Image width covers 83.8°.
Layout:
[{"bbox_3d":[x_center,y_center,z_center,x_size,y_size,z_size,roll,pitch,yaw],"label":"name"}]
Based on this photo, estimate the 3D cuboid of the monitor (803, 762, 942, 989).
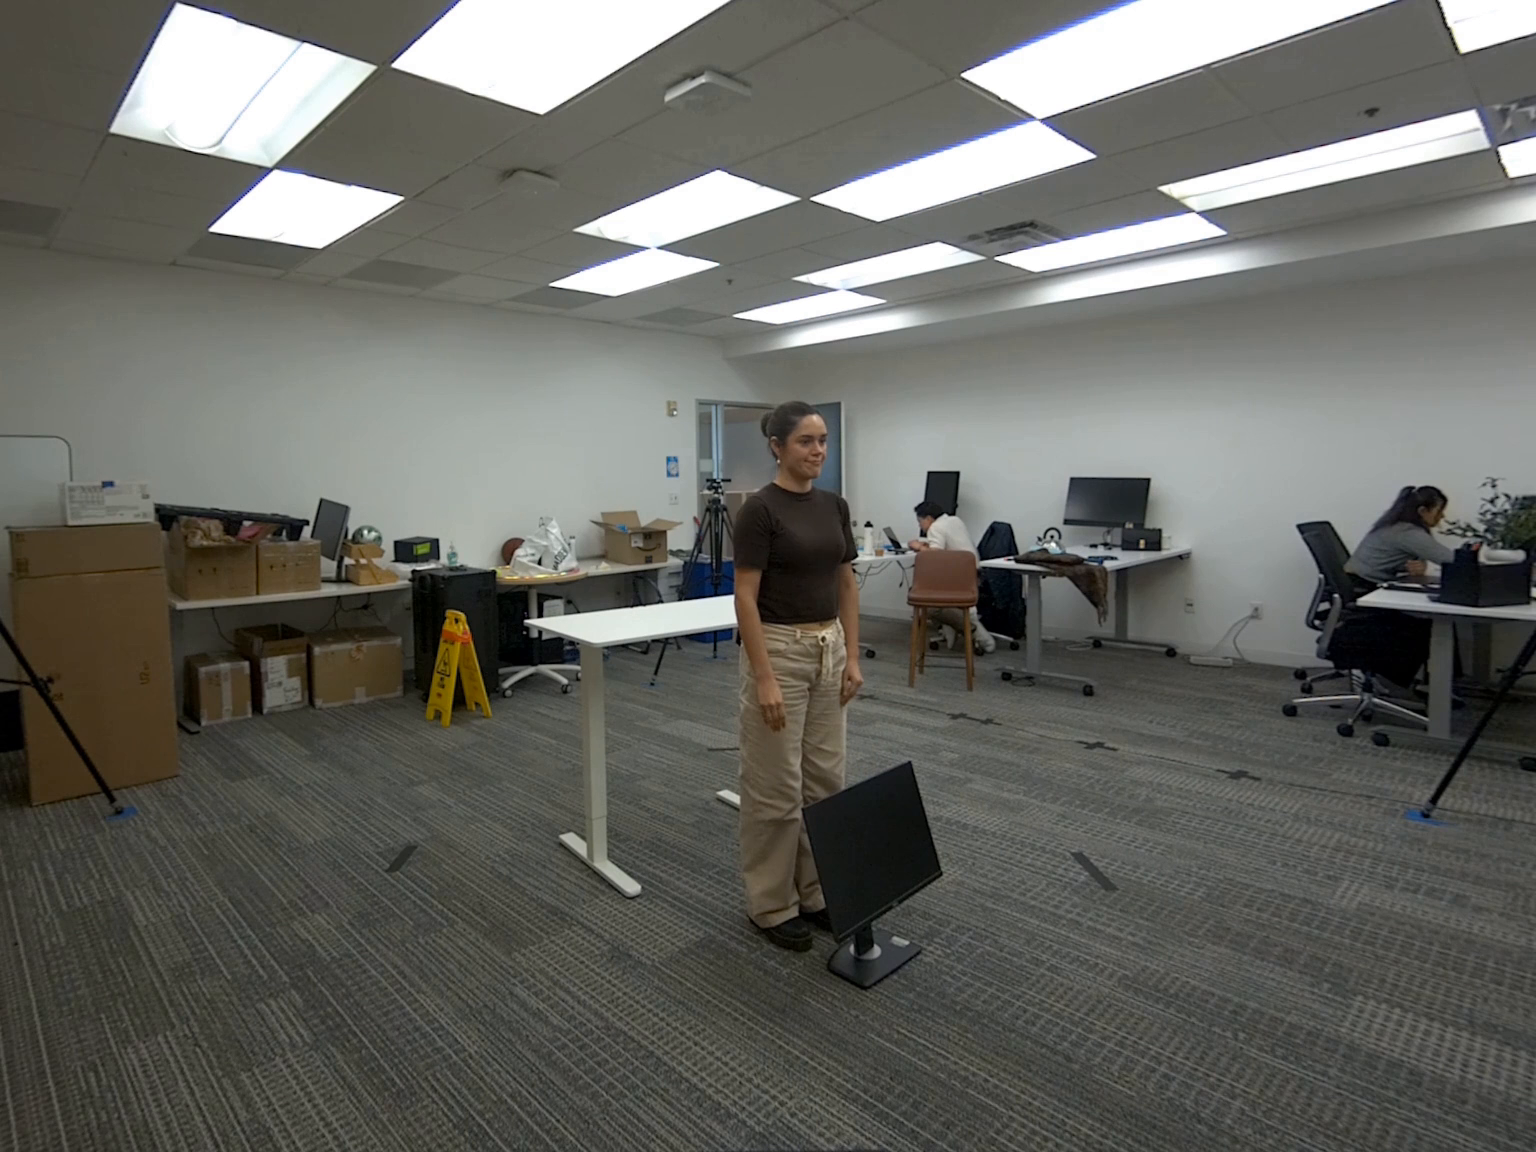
[{"bbox_3d":[0.295,0.858,2.468,0.192,0.522,0.525,-1,3,40],"label":"monitor"}]
